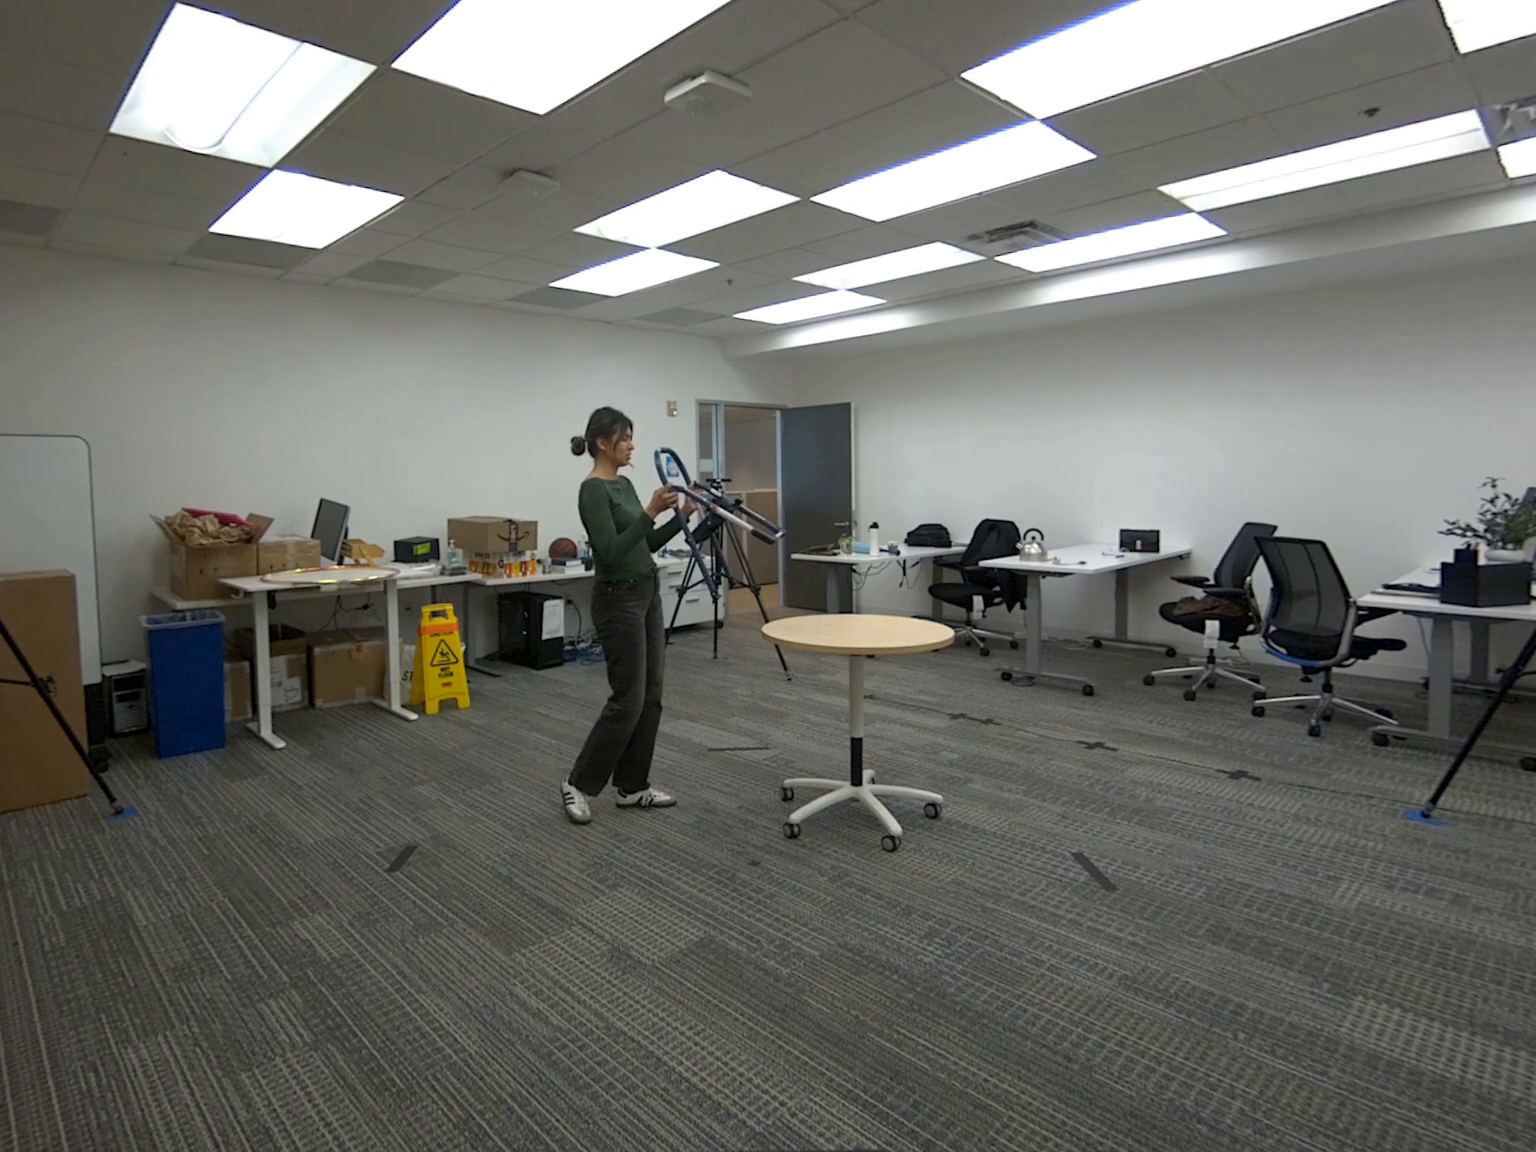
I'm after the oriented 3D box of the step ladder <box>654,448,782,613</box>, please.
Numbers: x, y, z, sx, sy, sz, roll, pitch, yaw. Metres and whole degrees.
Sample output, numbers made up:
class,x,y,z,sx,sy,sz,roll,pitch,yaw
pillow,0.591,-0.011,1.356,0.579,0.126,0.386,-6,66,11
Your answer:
class,x,y,z,sx,sy,sz,roll,pitch,yaw
step ladder,-0.272,-0.256,3.505,0.349,0.609,0.429,-45,-2,10
